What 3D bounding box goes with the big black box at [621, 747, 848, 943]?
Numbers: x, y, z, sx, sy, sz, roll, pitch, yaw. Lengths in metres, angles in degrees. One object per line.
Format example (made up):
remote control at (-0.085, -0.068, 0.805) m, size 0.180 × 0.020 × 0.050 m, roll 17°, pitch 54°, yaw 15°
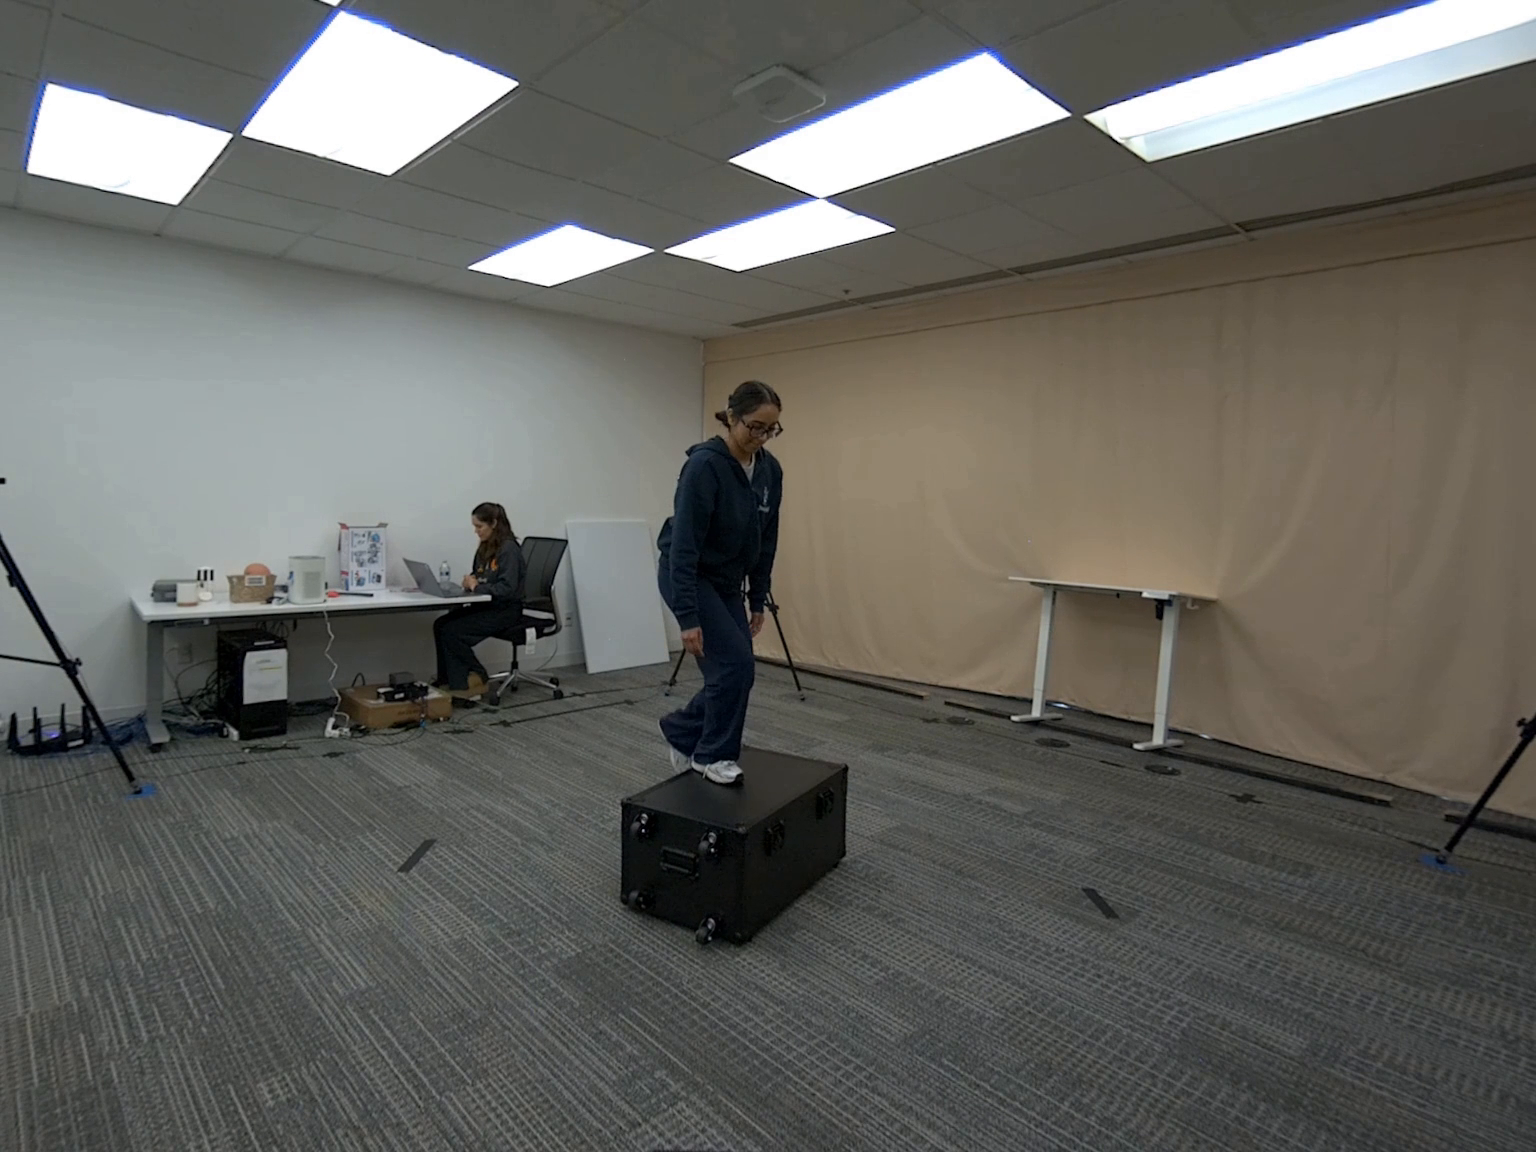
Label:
big black box at (-0.120, 0.927, 3.002) m, size 0.533 × 0.395 × 0.845 m, roll 4°, pitch 5°, yaw 29°
